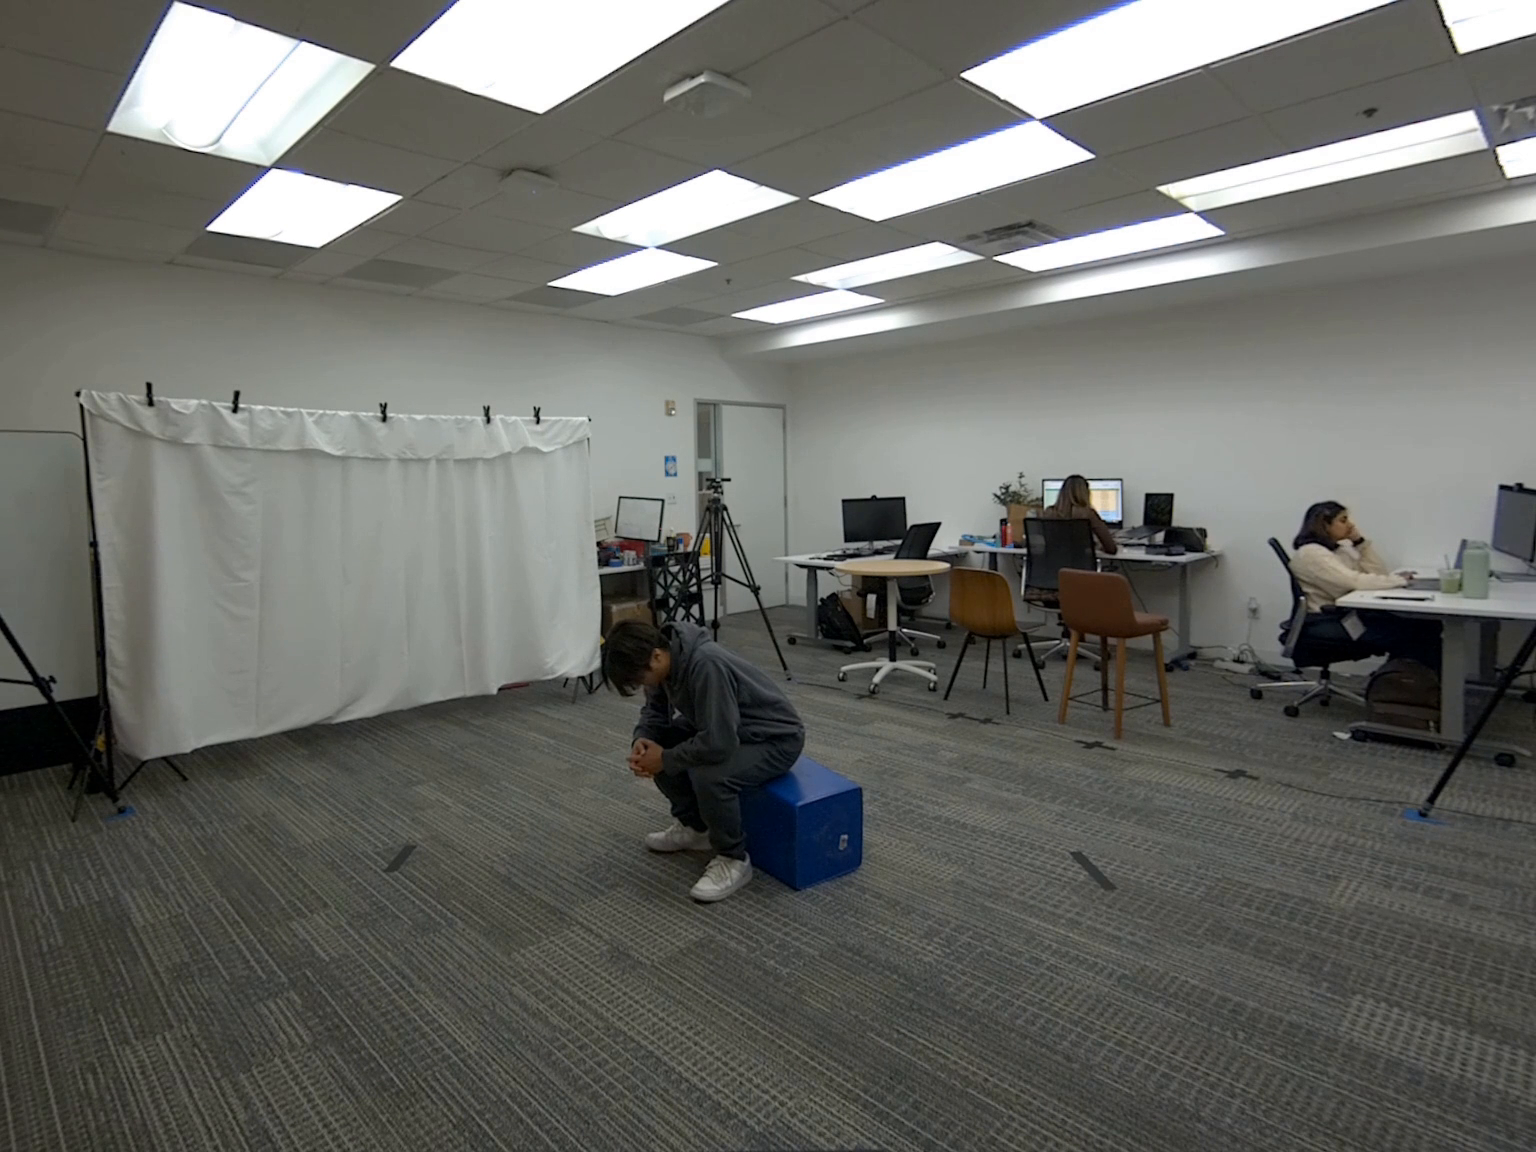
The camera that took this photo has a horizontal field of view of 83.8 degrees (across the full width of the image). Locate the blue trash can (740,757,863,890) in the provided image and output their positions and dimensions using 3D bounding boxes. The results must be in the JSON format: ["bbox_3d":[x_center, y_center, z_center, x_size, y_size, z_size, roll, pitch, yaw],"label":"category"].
[{"bbox_3d":[0.014,0.858,3.248,0.365,0.375,0.737,-4,10,-35],"label":"blue trash can"}]
